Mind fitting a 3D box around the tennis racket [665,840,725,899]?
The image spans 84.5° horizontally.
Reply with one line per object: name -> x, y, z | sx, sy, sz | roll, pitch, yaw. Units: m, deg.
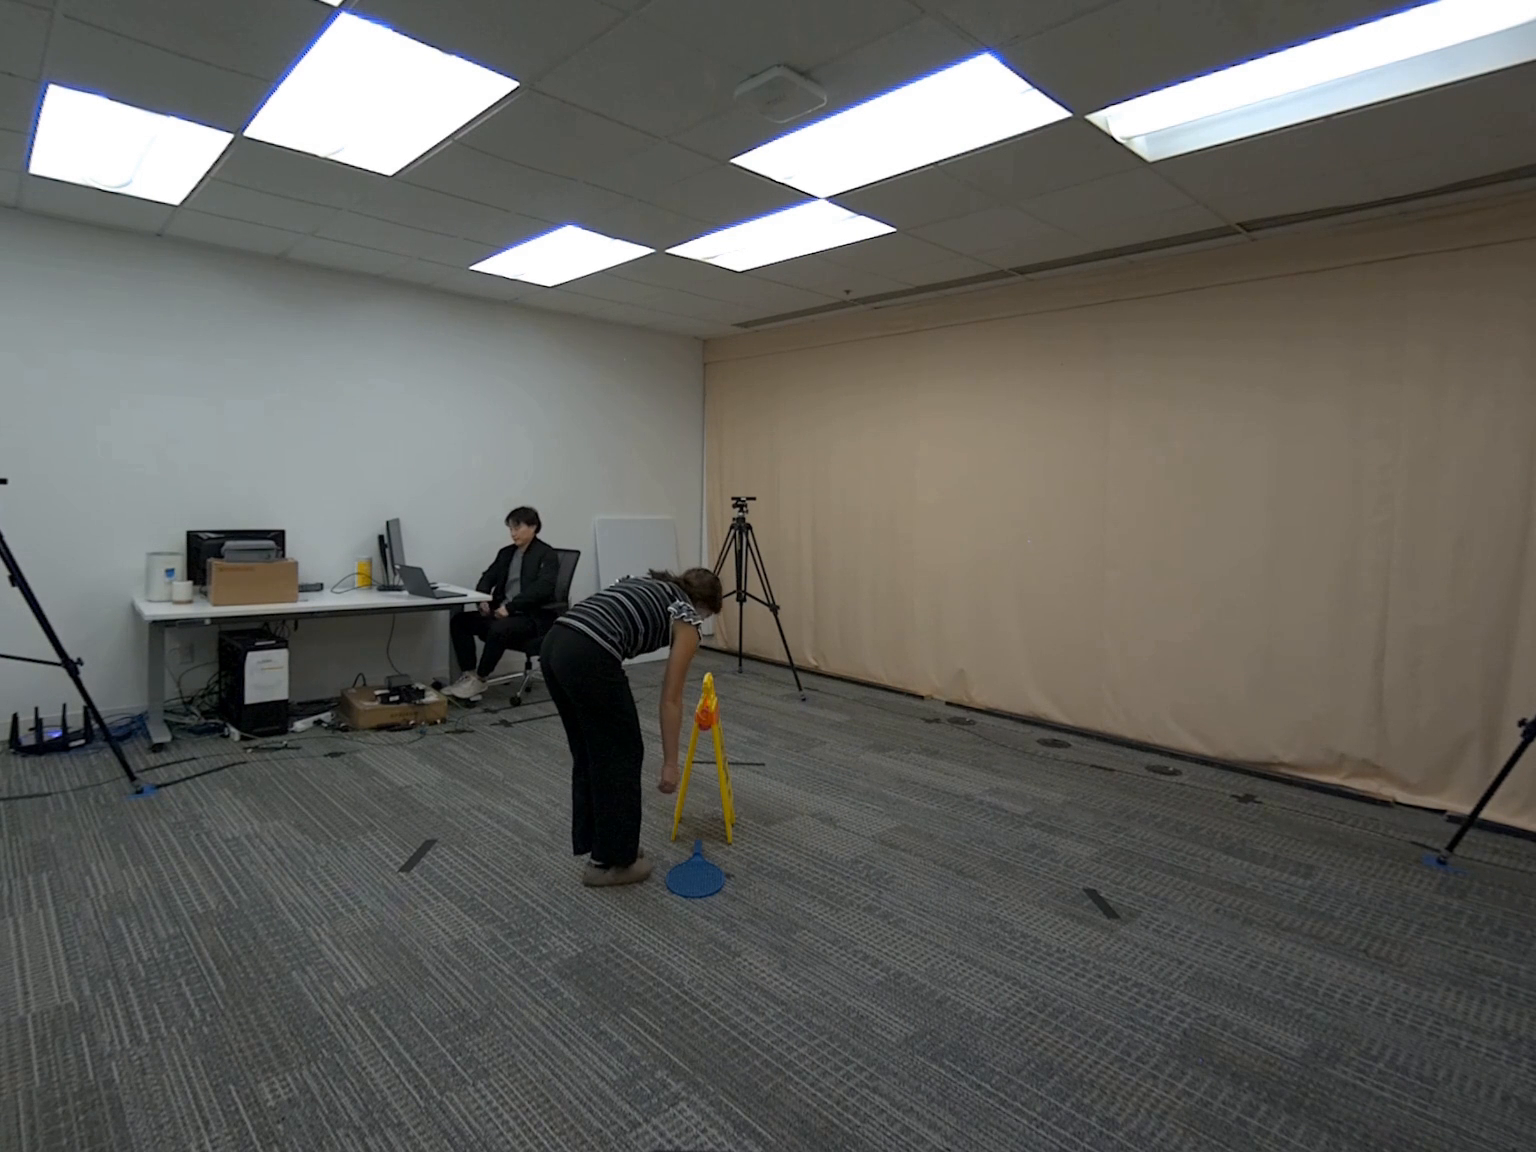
tennis racket -> -0.274, 1.087, 3.134 | 0.214, 0.031, 0.434 | 2, 7, -1
